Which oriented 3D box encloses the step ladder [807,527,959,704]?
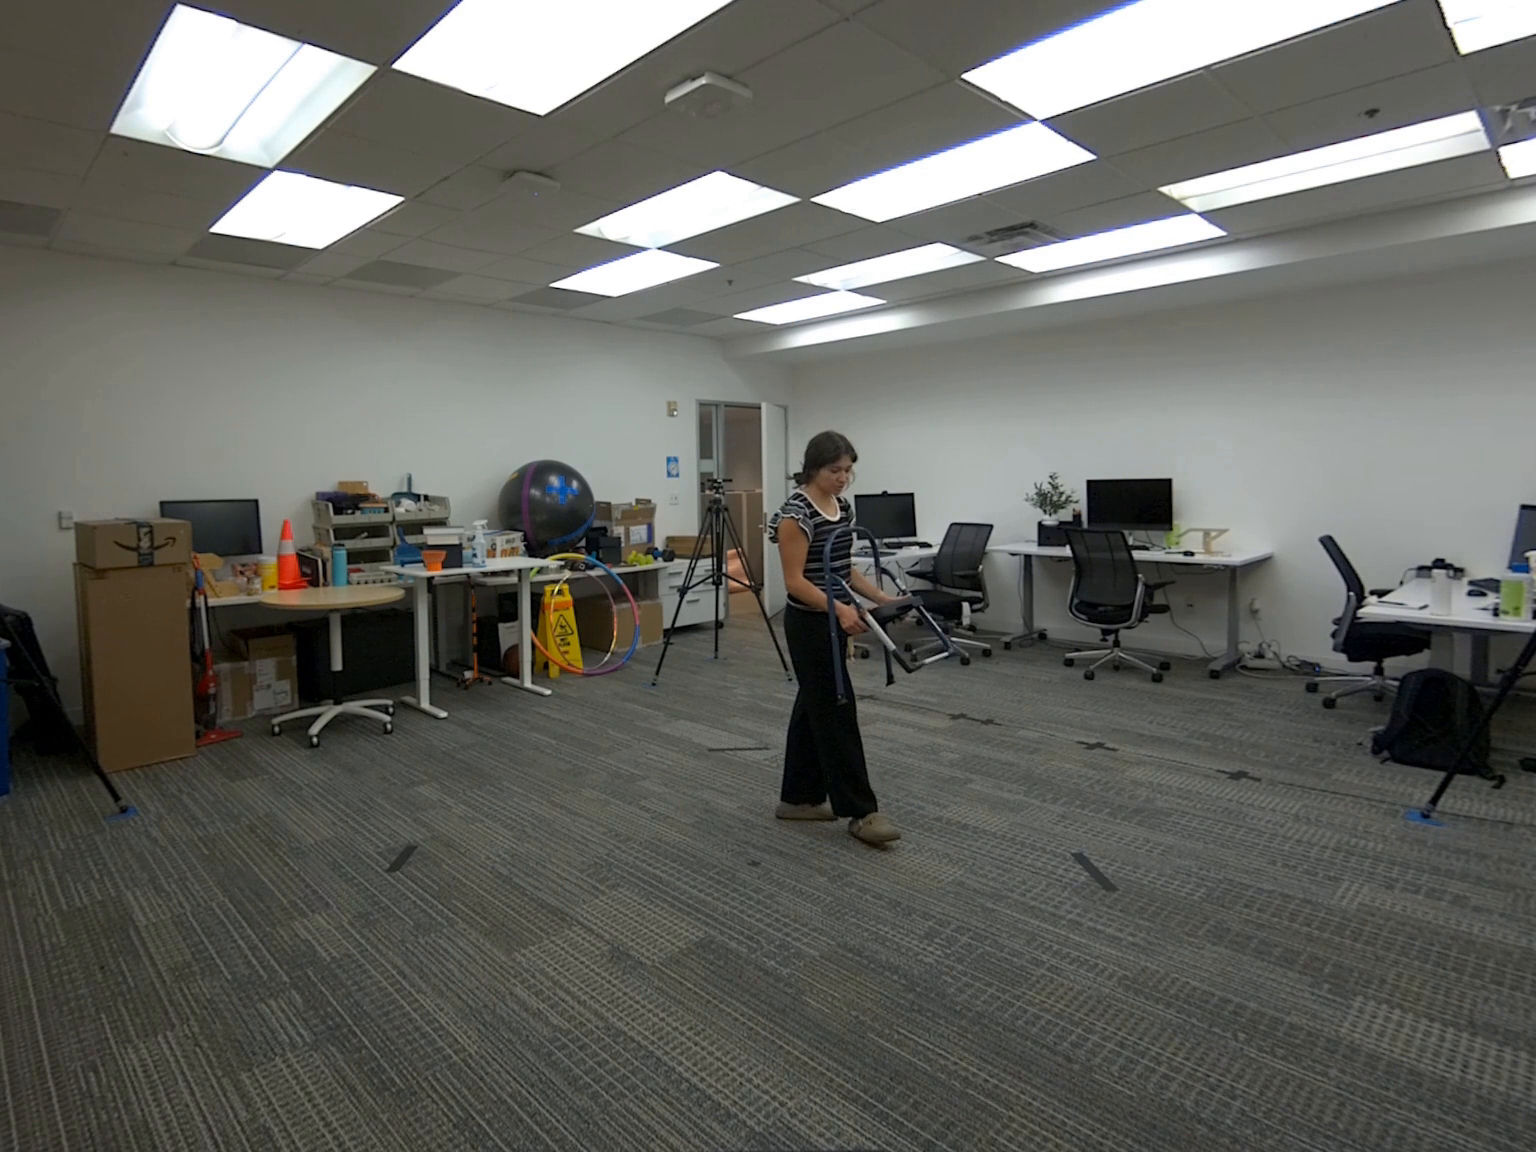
[{"bbox_3d":[0.378,0.117,3.299,0.352,0.616,0.419,-32,-16,33],"label":"step ladder"}]
